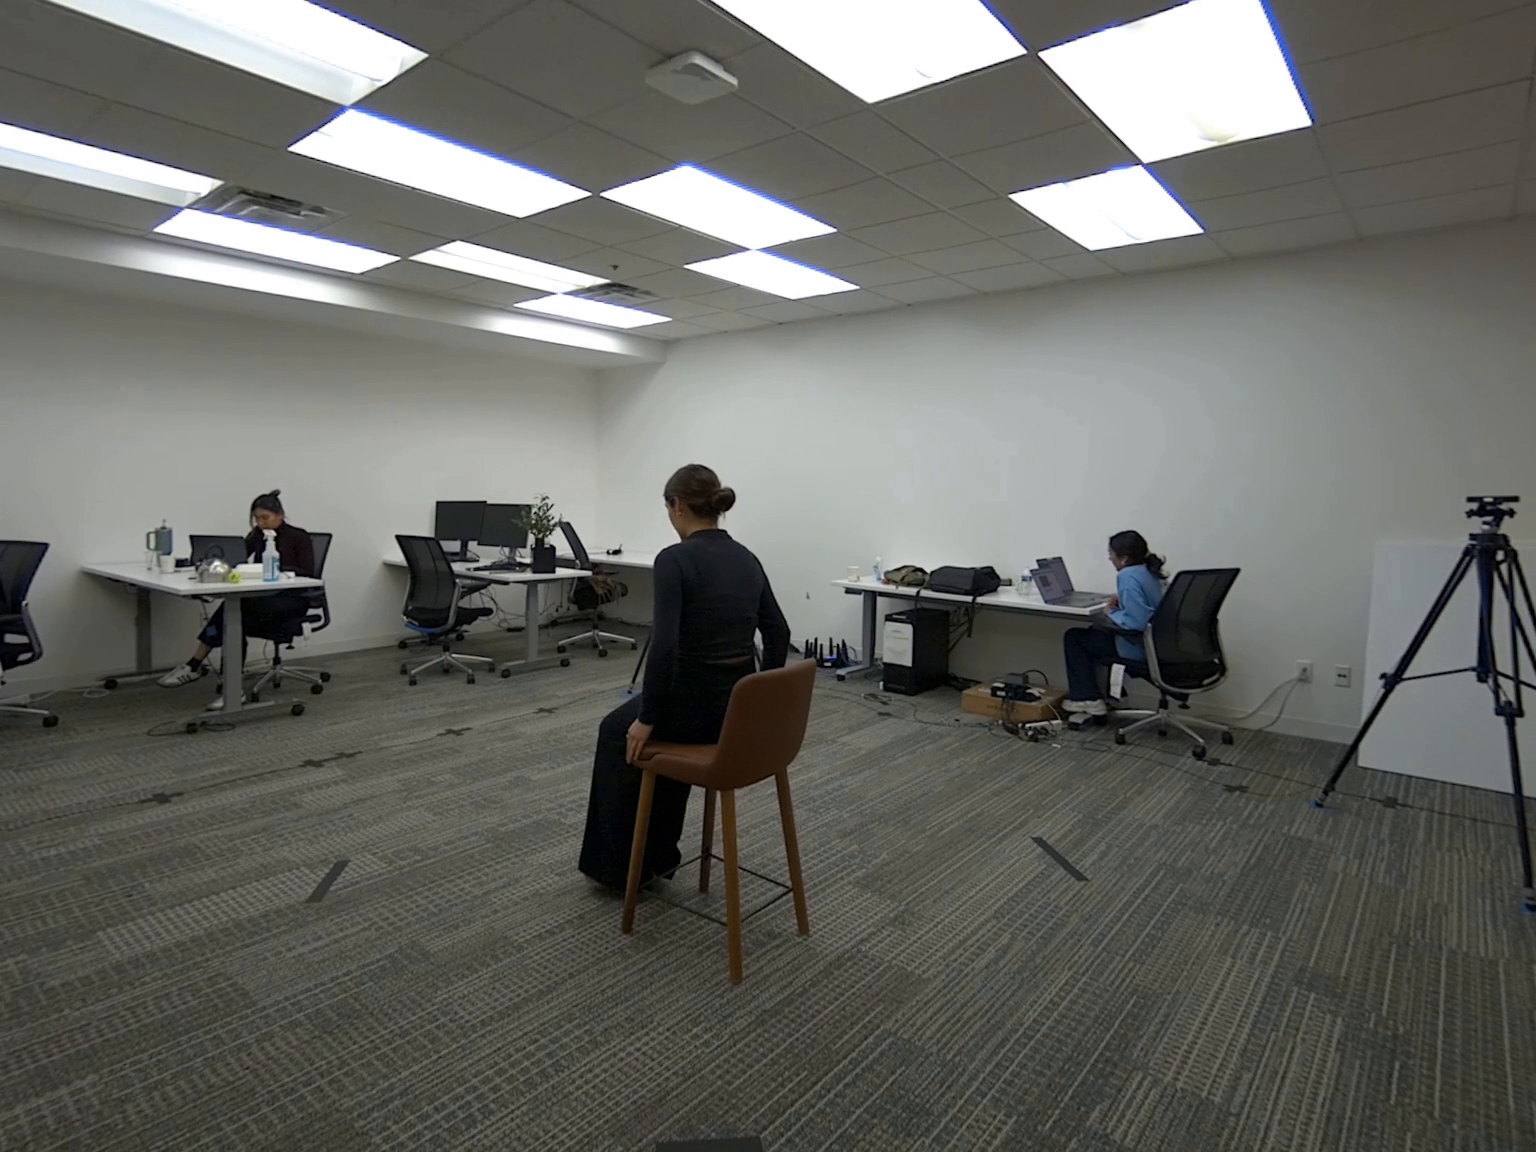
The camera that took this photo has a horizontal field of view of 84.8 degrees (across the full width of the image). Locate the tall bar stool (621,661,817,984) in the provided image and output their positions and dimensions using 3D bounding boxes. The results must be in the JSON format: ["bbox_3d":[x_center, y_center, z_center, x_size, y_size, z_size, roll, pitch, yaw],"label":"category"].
[{"bbox_3d":[-0.150,0.680,2.624,0.483,0.886,0.443,6,6,37],"label":"tall bar stool"}]
